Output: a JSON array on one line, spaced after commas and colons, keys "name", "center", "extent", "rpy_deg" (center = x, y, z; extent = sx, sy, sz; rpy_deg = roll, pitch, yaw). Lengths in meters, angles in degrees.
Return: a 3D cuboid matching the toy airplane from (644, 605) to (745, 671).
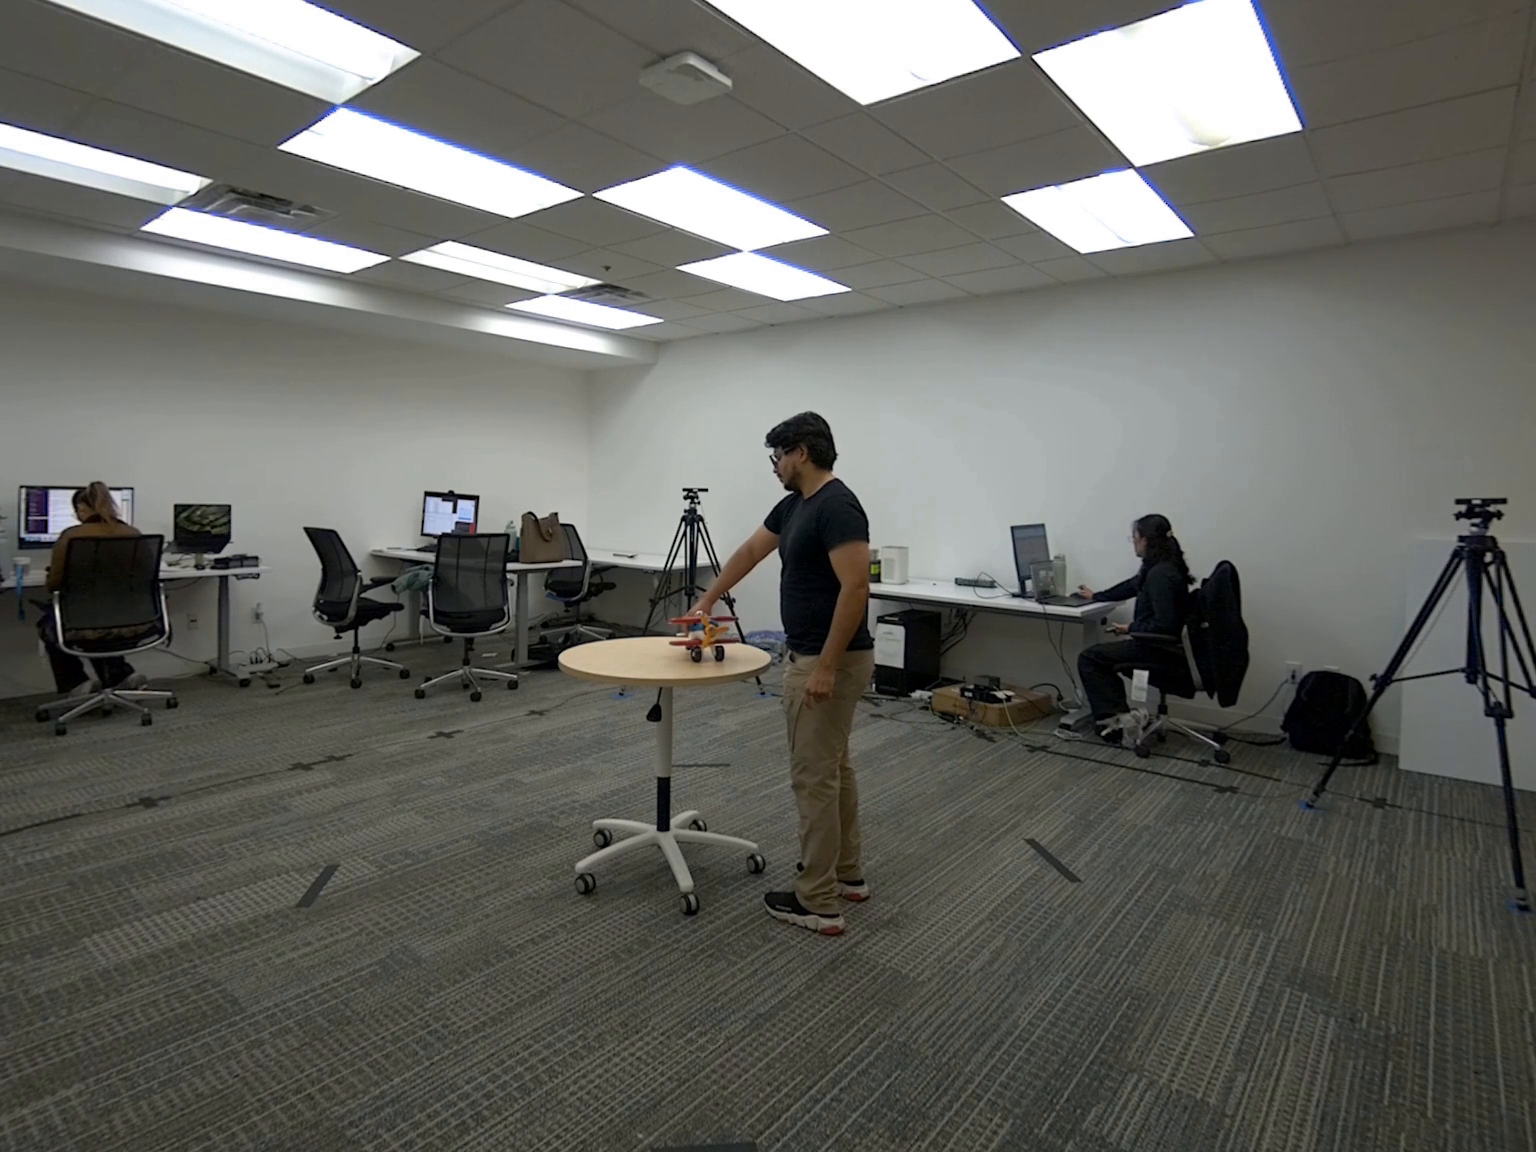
[{"name": "toy airplane", "center": [-0.268, 0.217, 3.046], "extent": [0.268, 0.155, 0.244], "rpy_deg": [8, 11, 43]}]
